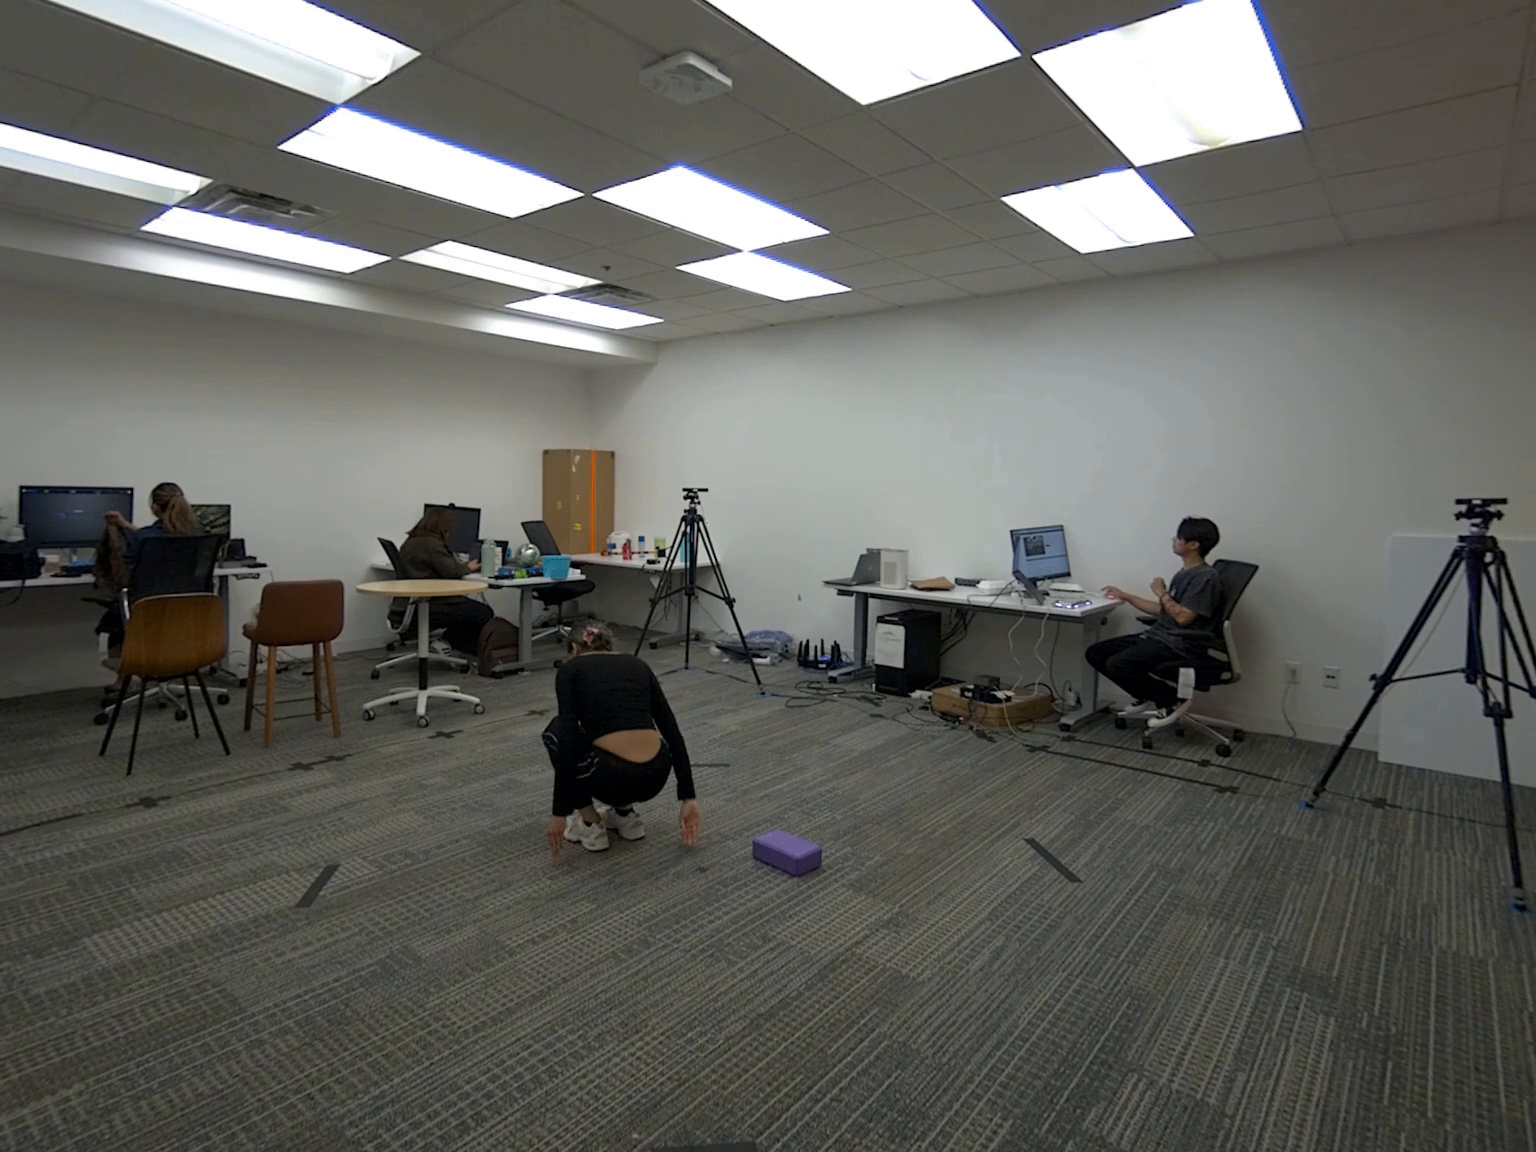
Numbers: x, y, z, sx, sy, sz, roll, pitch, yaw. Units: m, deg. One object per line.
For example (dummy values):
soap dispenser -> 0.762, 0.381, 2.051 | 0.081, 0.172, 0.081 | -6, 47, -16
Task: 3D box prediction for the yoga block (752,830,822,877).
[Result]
yoga block -> 0.064, 1.030, 3.184 | 0.237, 0.076, 0.144 | 6, 8, 43
